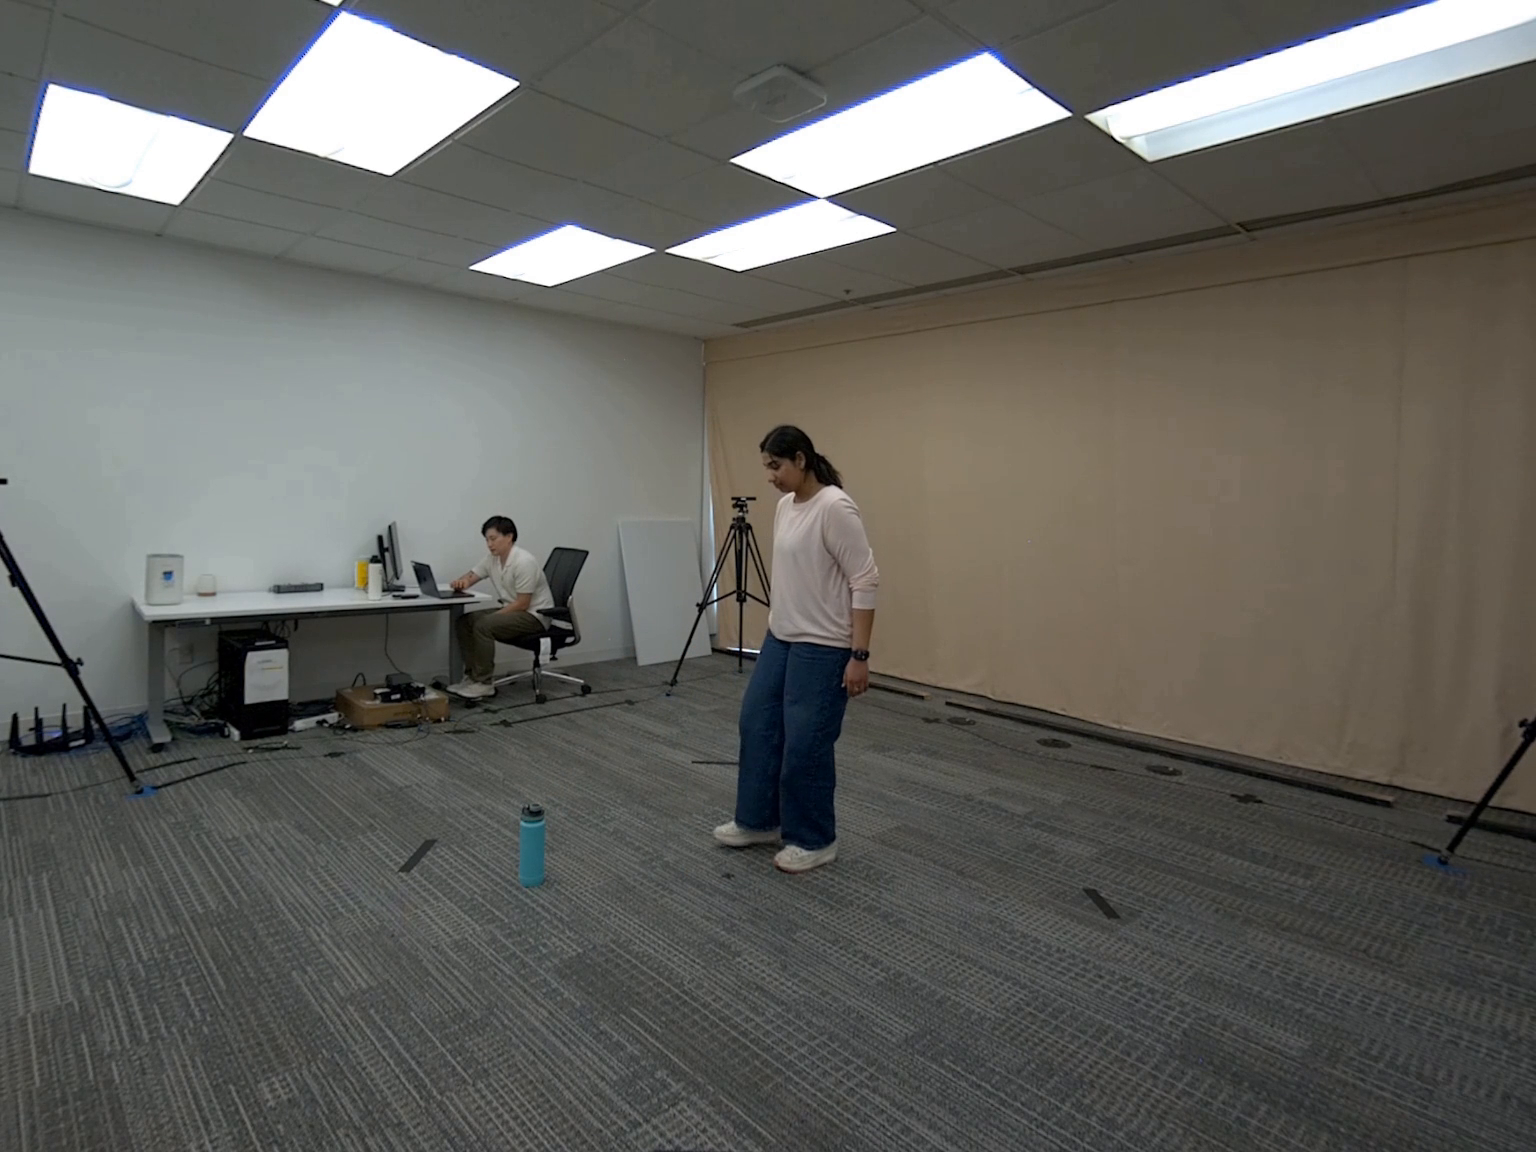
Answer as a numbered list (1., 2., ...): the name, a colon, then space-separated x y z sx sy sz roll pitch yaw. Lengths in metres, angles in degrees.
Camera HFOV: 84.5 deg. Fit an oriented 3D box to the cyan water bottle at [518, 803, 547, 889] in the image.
1. cyan water bottle: -0.858 0.962 3.015 0.092 0.282 0.093 1 4 -1
